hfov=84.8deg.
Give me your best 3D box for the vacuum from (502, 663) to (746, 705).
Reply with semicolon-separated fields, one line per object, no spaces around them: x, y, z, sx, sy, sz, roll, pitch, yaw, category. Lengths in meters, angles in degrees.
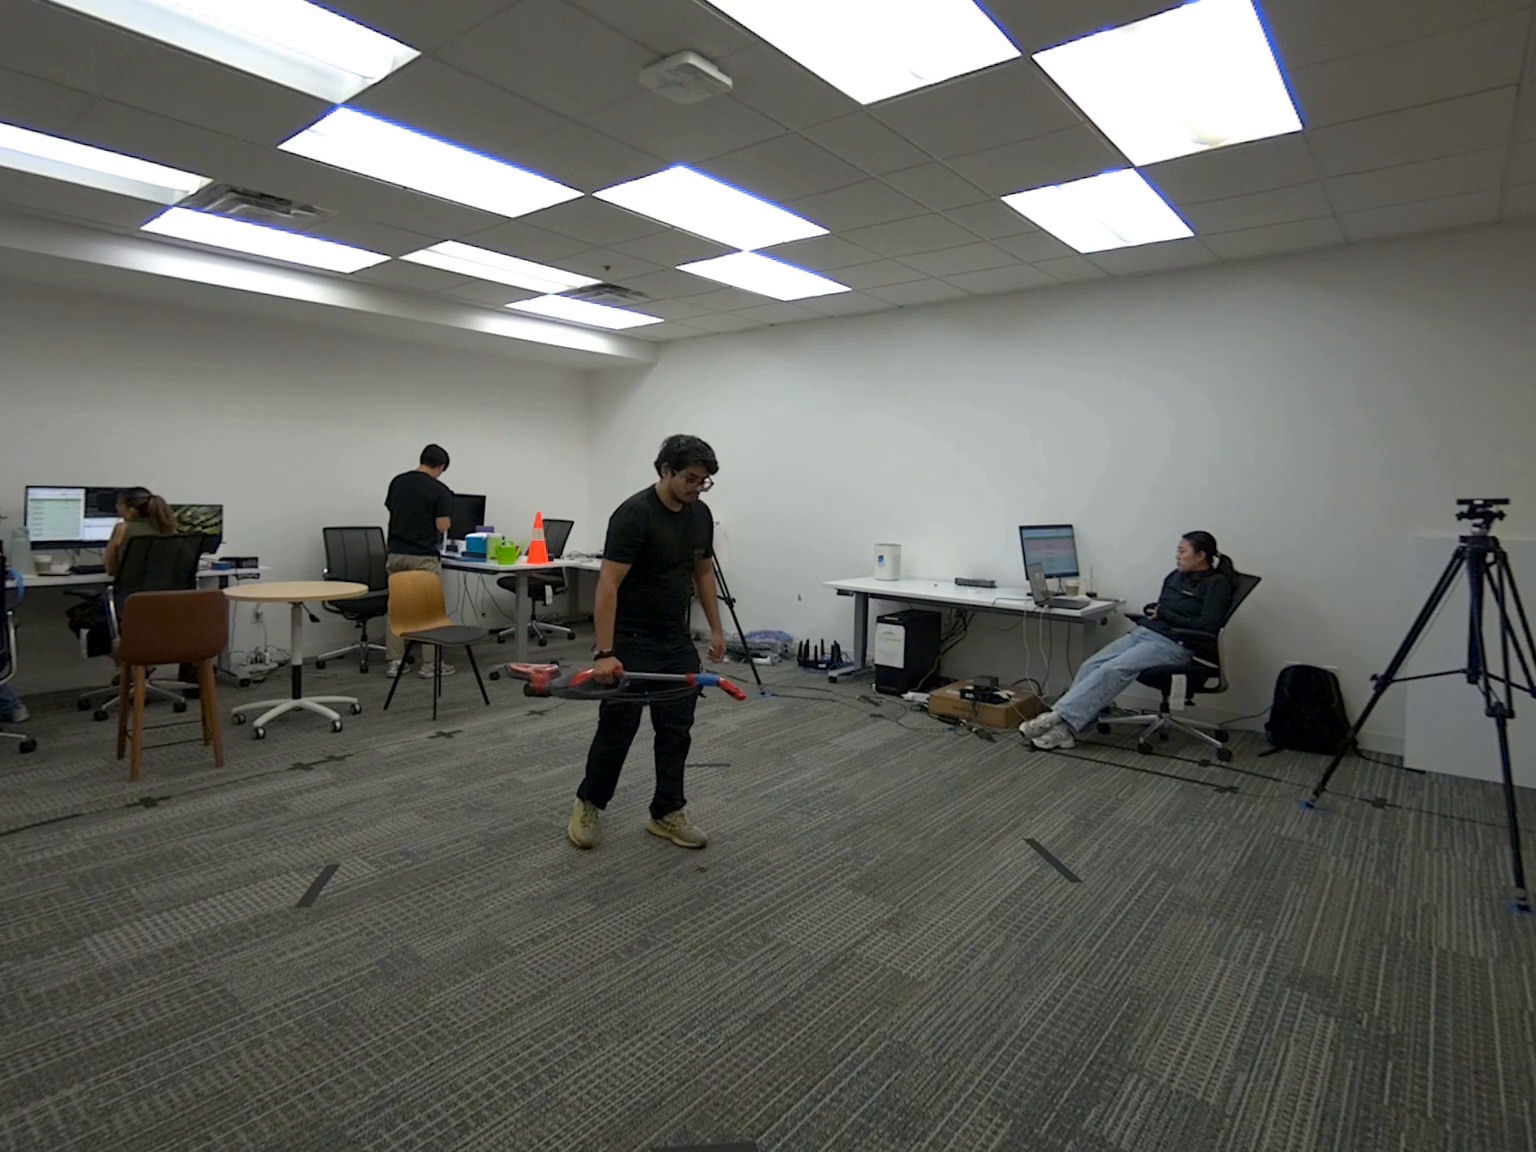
-0.526;0.394;2.983;1.081;0.145;0.244;-1;-5;42;vacuum
